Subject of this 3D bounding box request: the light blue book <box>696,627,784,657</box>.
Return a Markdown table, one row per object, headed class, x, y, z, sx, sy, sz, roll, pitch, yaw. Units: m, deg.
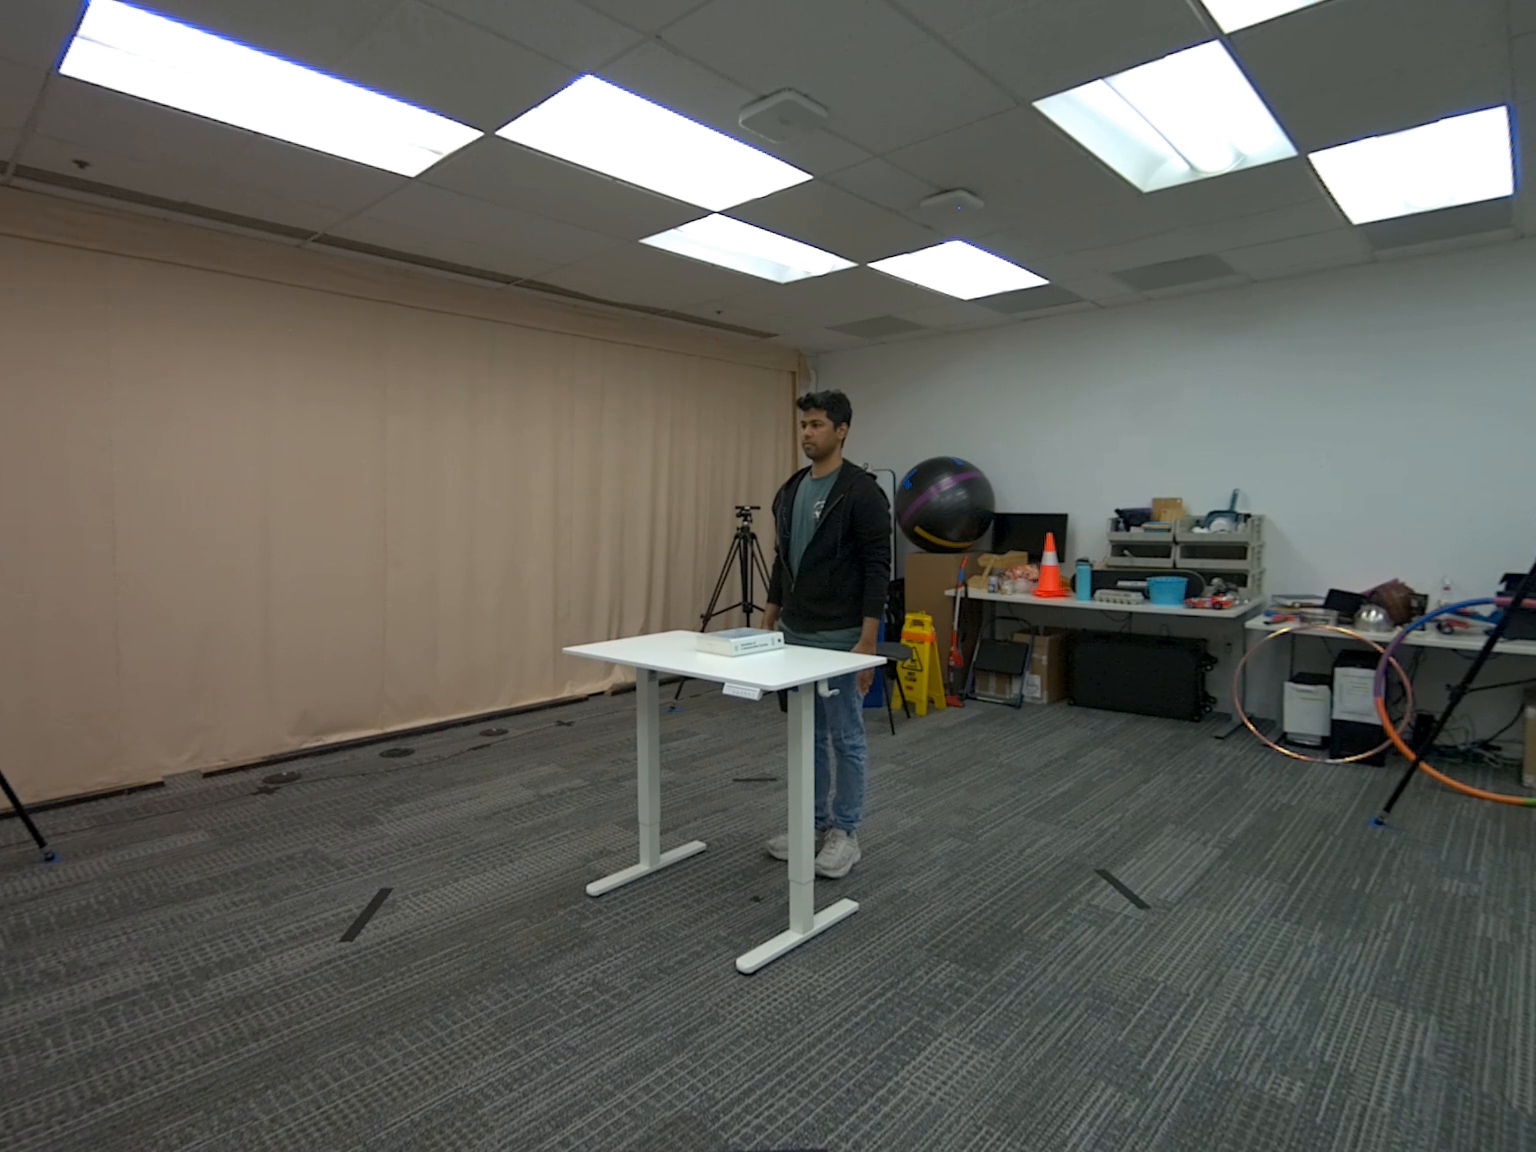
| class | x | y | z | sx | sy | sz | roll | pitch | yaw |
| --- | --- | --- | --- | --- | --- | --- | --- | --- | --- |
| light blue book | -0.109 | 0.235 | 2.997 | 0.198 | 0.059 | 0.253 | 5 | 7 | 45 |
